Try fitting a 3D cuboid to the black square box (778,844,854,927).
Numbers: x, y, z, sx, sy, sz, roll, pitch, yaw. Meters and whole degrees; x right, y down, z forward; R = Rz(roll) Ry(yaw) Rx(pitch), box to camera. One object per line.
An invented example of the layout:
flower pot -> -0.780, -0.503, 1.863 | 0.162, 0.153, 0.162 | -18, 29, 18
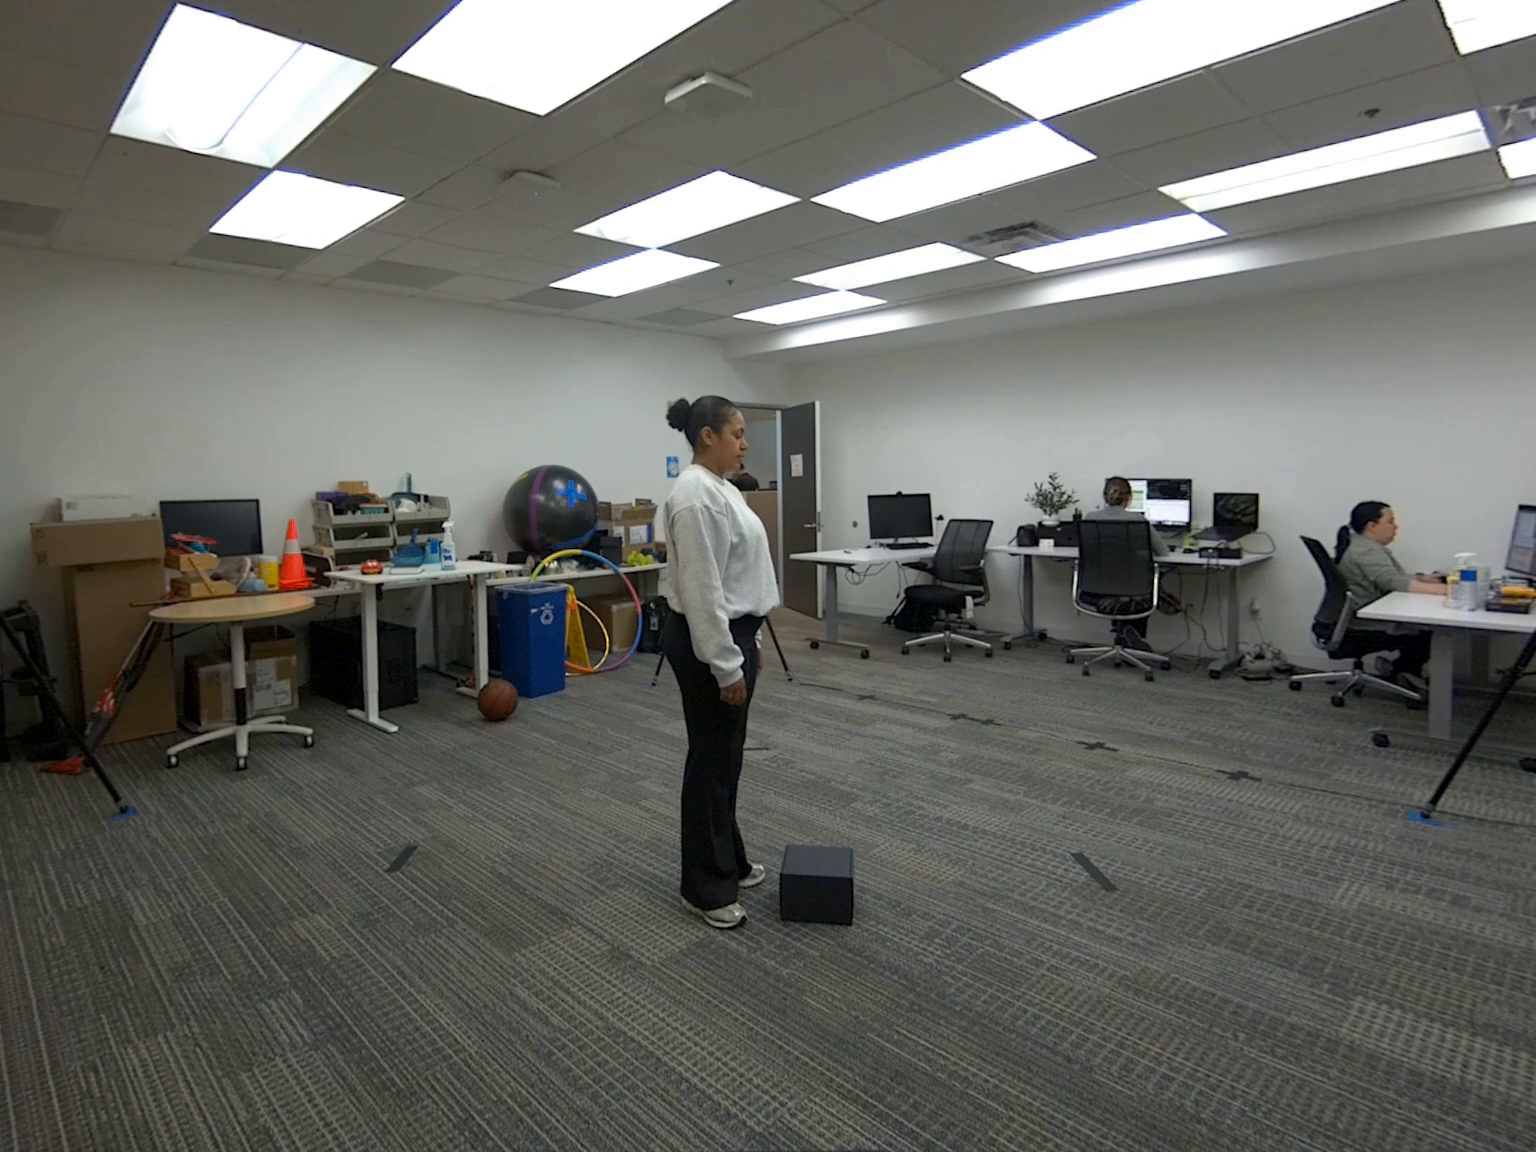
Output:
black square box -> 0.163, 0.987, 2.773 | 0.230, 0.155, 0.216 | 0, 6, 8
